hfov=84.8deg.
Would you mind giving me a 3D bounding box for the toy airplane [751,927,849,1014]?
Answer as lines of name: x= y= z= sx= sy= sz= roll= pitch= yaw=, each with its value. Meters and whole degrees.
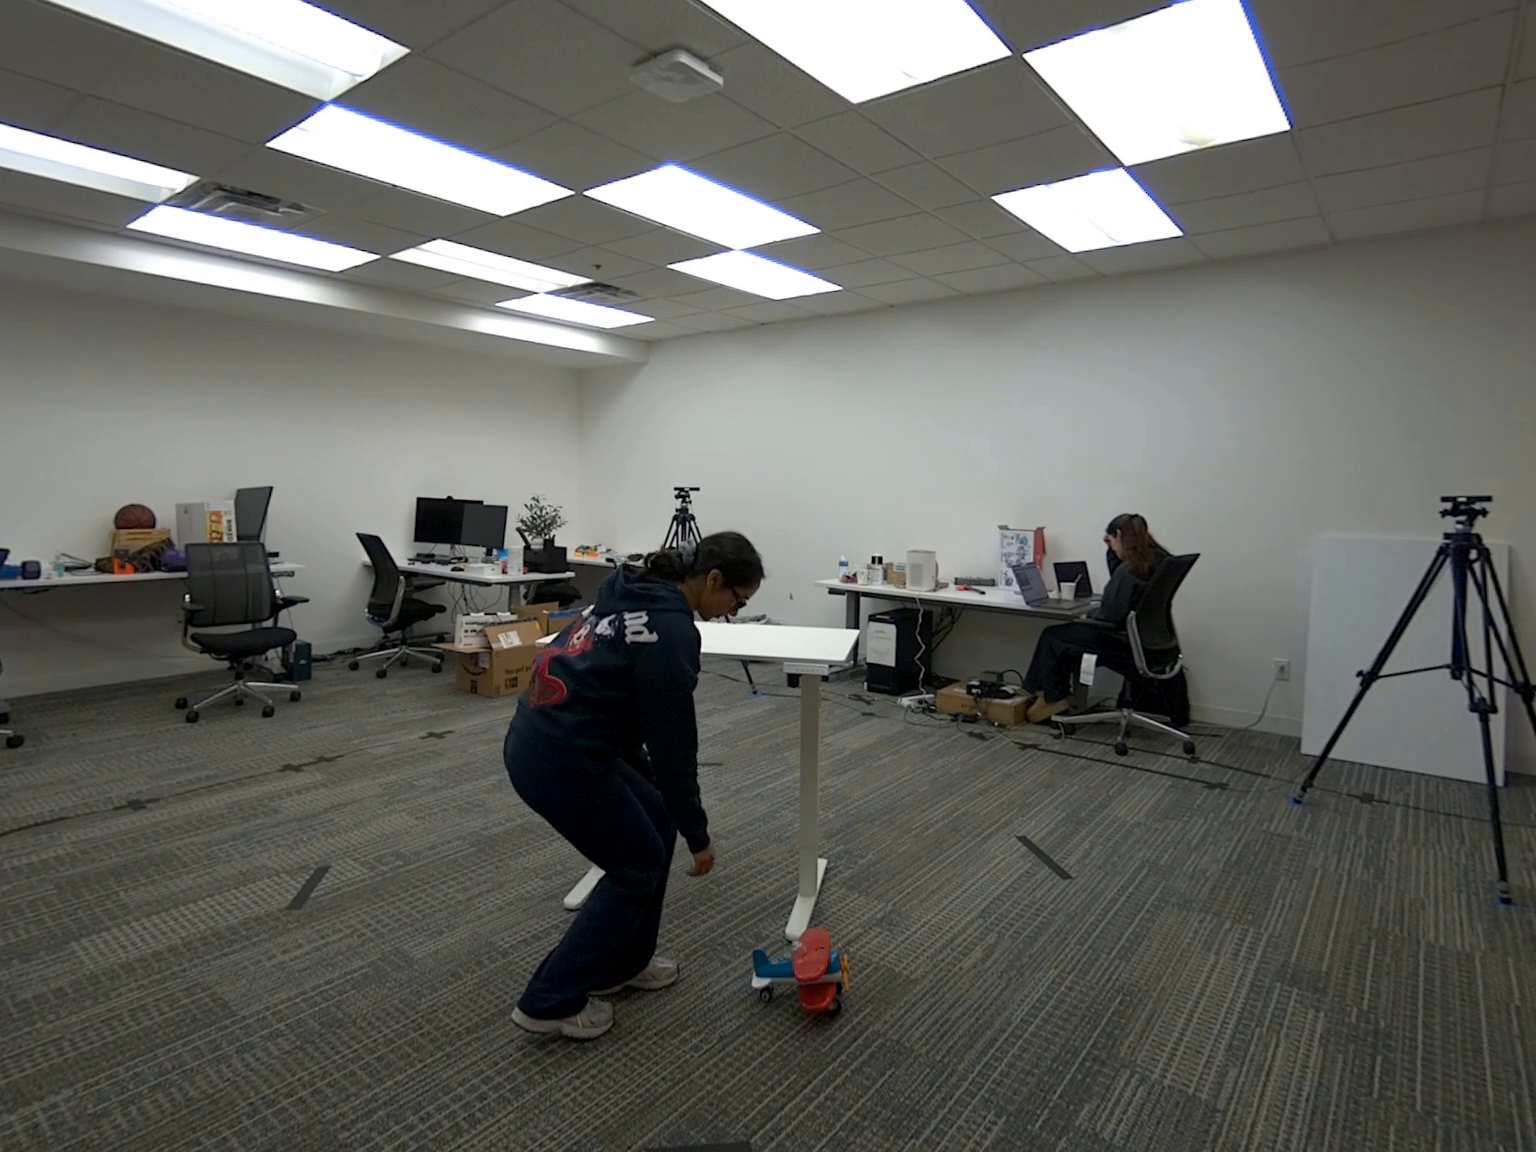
toy airplane: x=0.095 y=1.084 z=2.289 sx=0.254 sy=0.156 sz=0.257 roll=1 pitch=5 yaw=-20
